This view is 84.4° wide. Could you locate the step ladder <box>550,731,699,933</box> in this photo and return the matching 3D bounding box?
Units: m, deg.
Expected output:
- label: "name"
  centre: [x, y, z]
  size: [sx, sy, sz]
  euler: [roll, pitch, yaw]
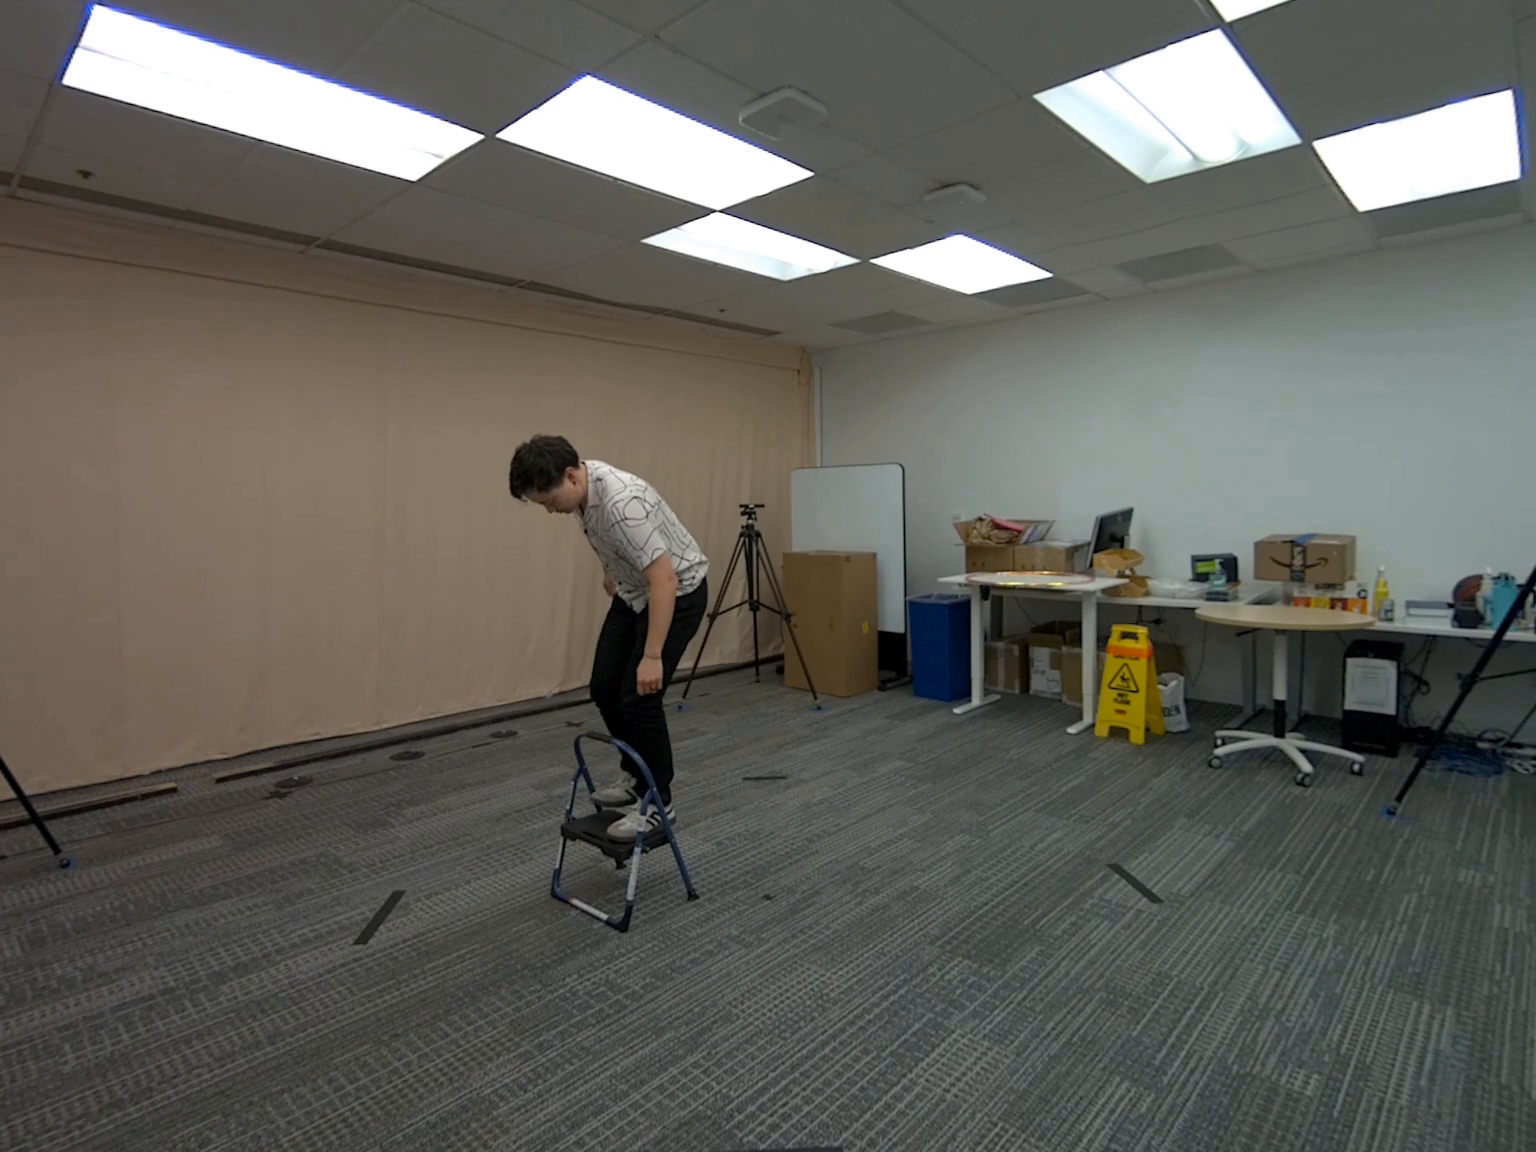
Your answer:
- label: "step ladder"
  centre: [-0.525, 0.845, 2.998]
  size: [0.445, 0.604, 0.339]
  euler: [2, 5, 41]
